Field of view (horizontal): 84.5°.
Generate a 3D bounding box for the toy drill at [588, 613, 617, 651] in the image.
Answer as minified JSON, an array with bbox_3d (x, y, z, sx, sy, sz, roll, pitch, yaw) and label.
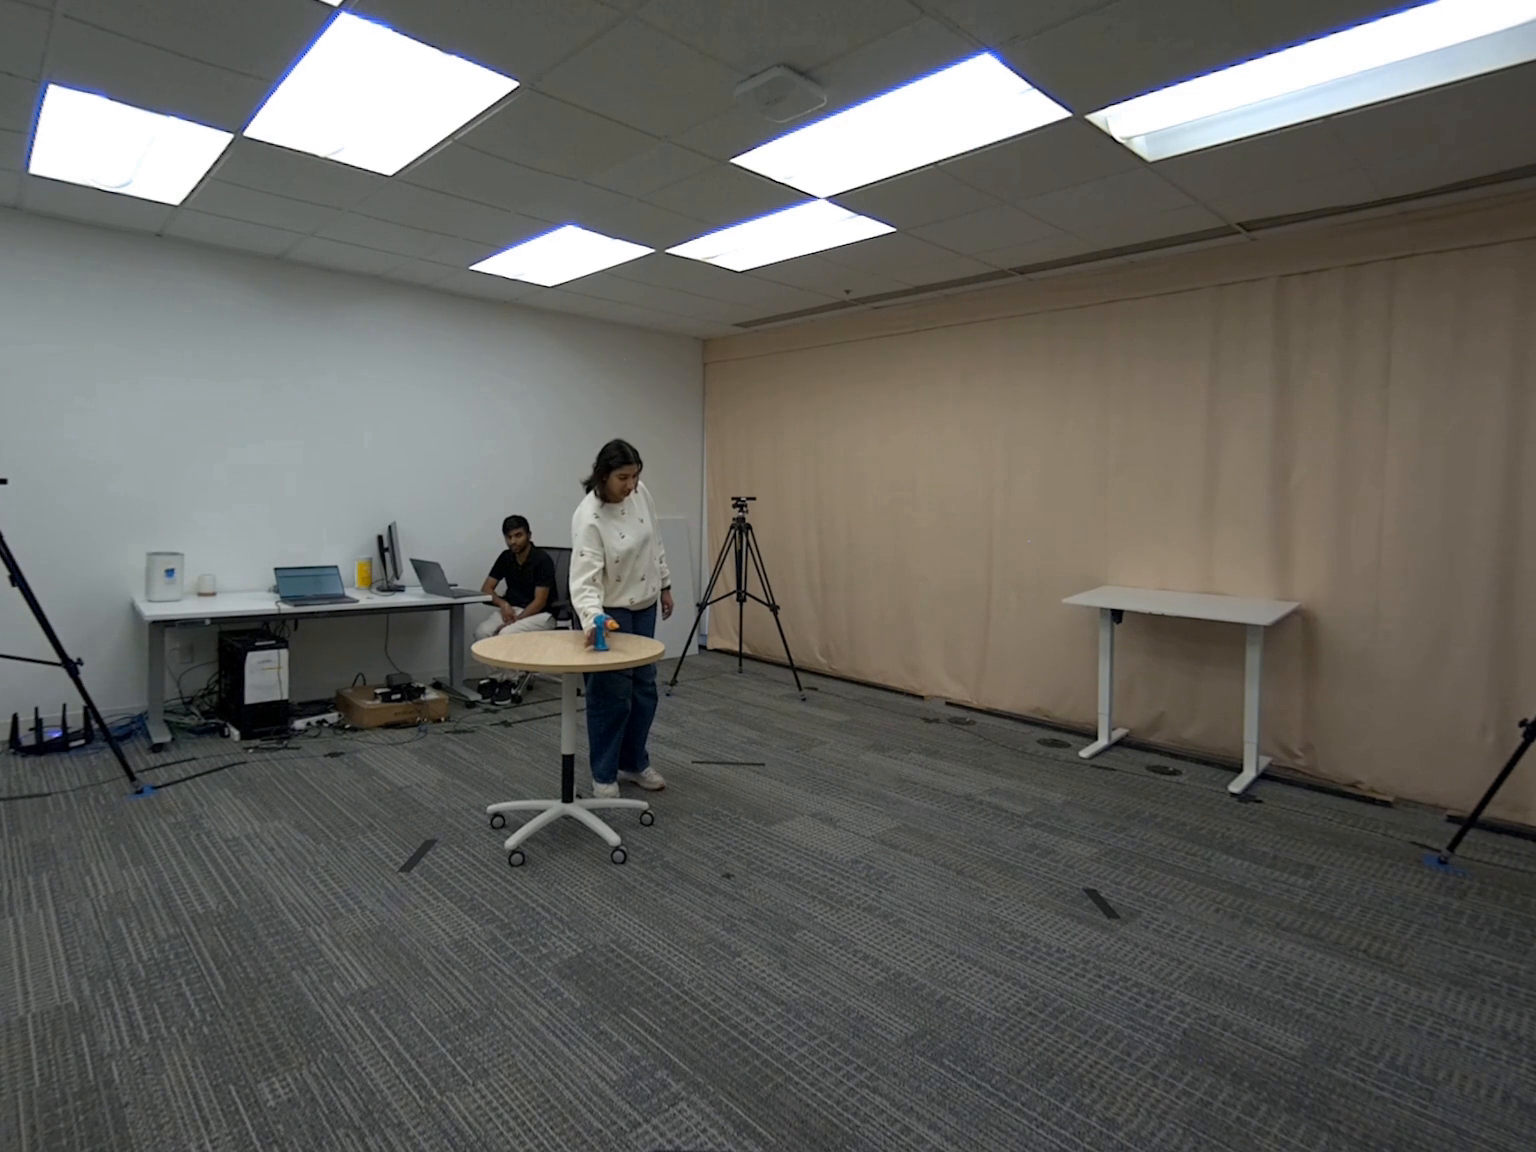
[{"bbox_3d":[-0.649,0.226,3.296,0.060,0.146,0.174,-1,4,-41],"label":"toy drill"}]
